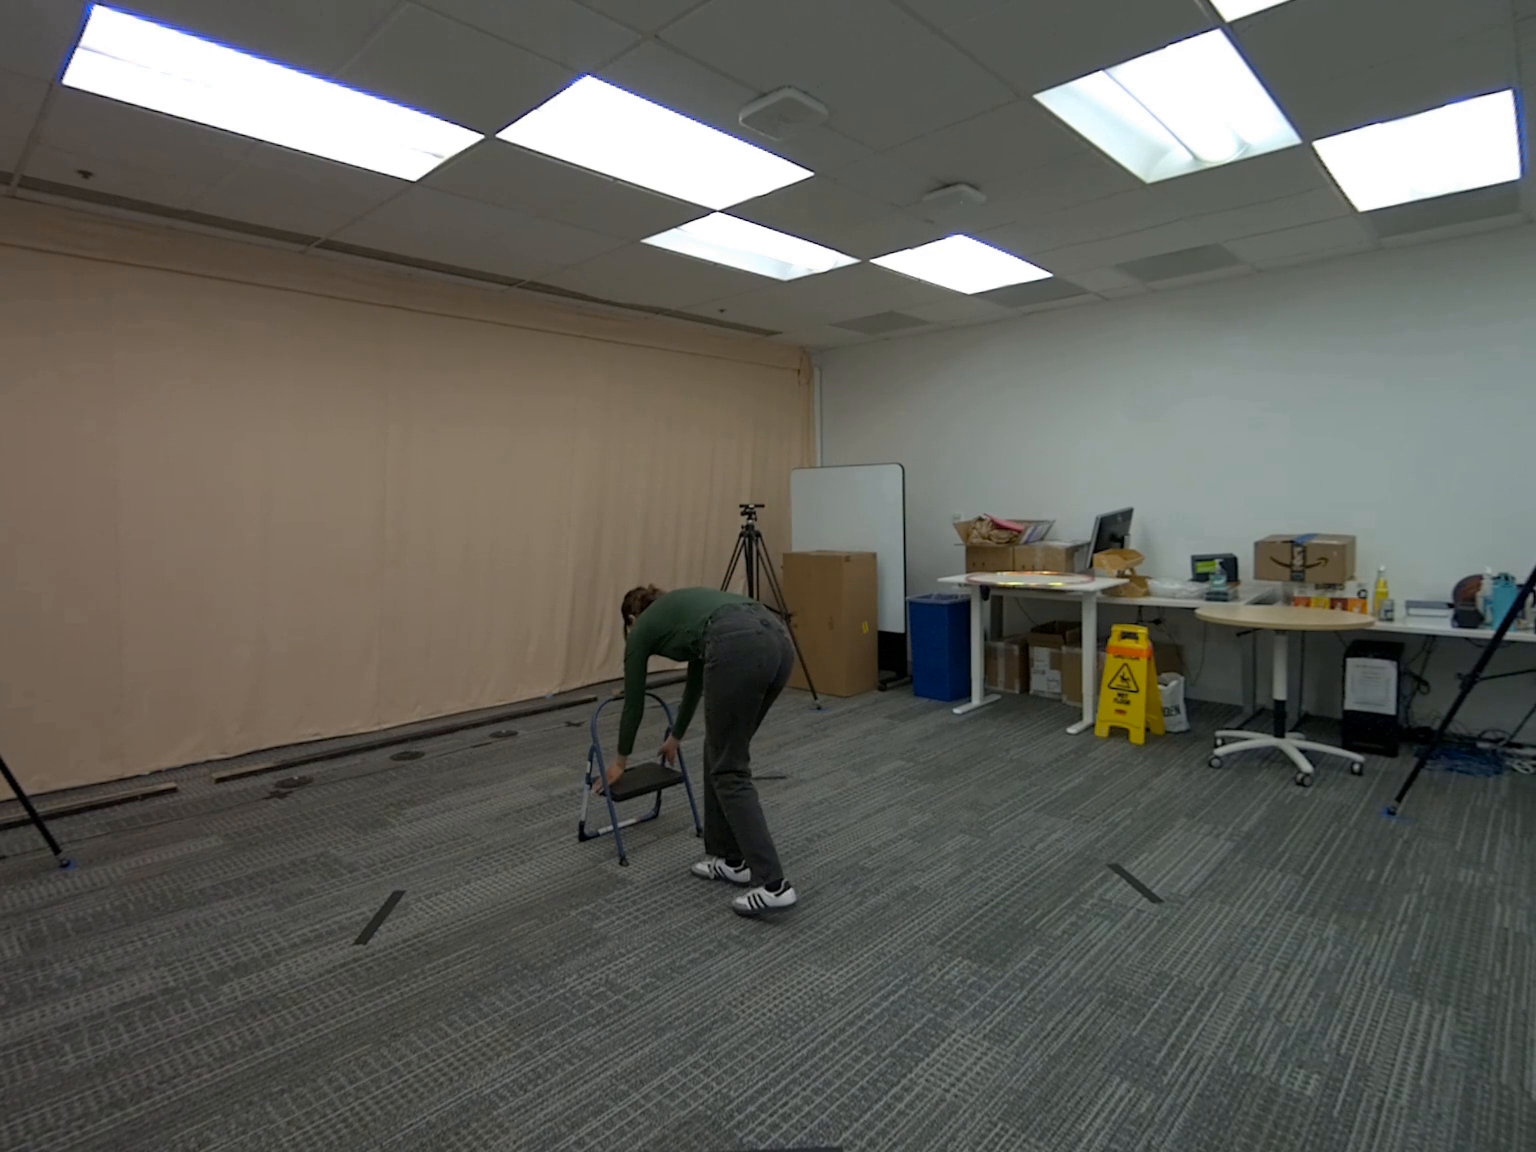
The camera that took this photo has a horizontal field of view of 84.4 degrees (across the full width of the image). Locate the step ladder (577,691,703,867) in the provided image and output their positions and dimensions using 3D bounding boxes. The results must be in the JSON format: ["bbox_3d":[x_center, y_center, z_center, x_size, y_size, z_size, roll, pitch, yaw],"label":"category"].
[{"bbox_3d":[-0.536,0.804,3.521,0.417,0.605,0.361,-4,4,-43],"label":"step ladder"}]
